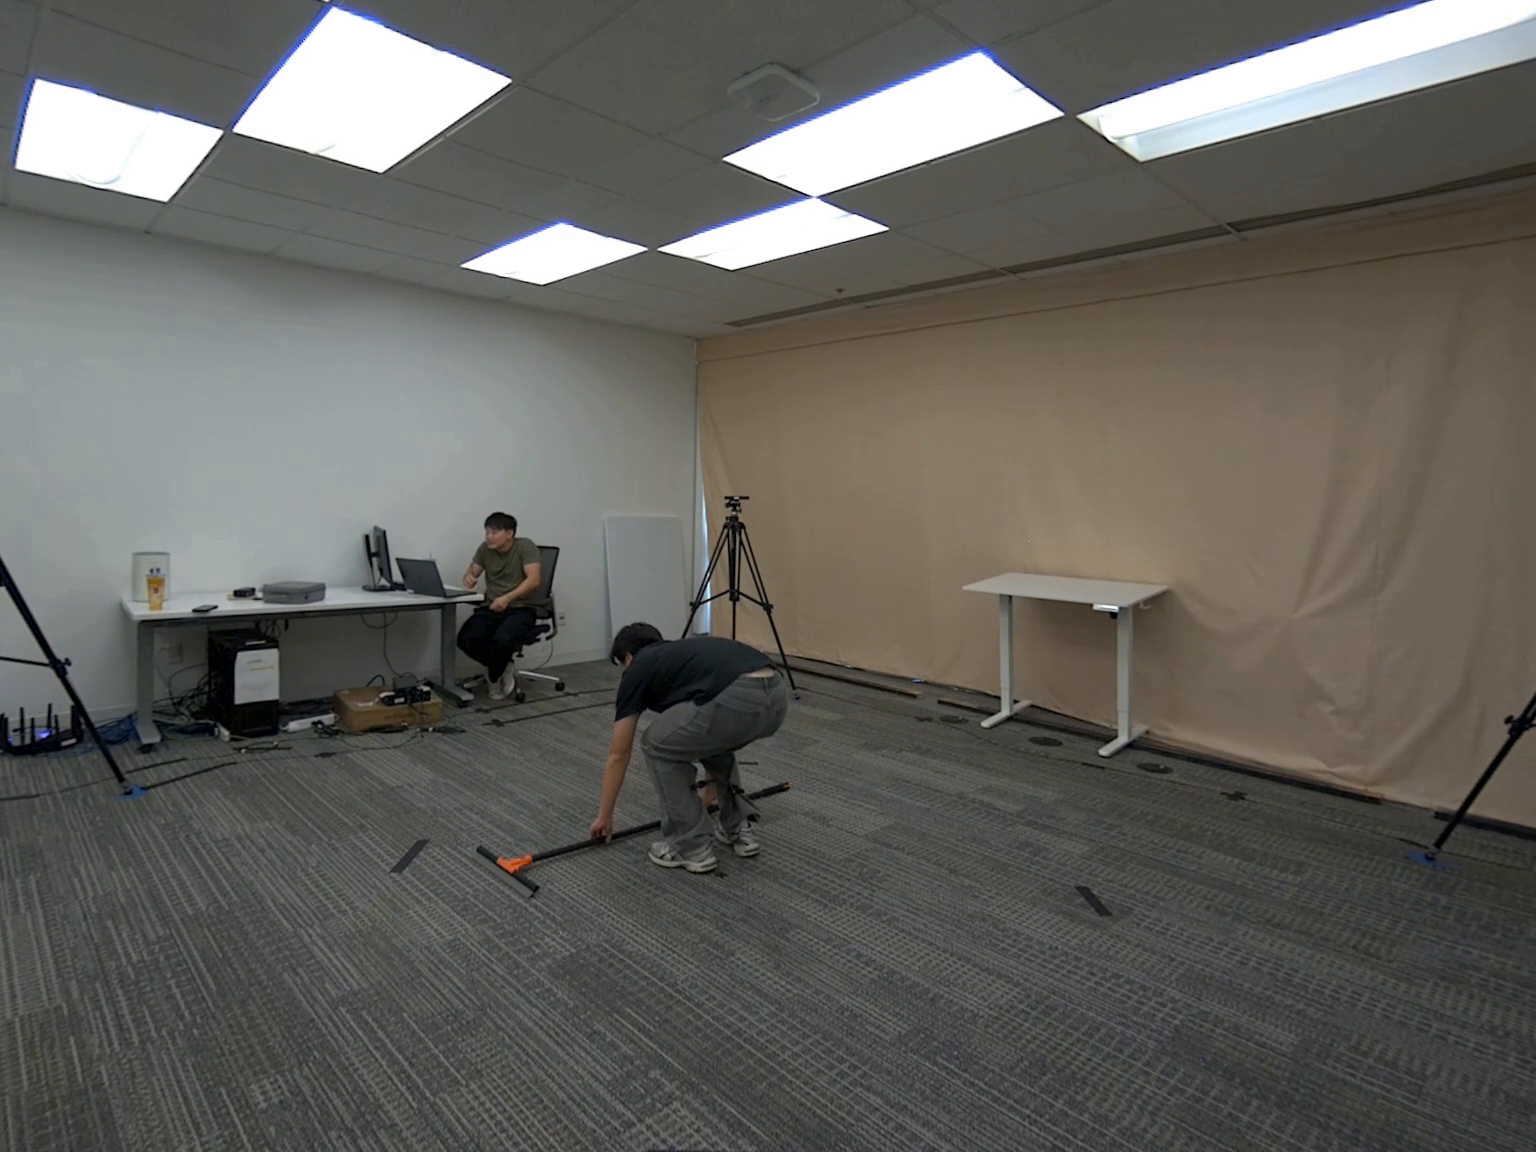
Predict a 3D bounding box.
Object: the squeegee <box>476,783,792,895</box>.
[{"bbox_3d":[-0.439,1.021,3.556,1.502,0.053,0.449,-2,7,-44],"label":"squeegee"}]
